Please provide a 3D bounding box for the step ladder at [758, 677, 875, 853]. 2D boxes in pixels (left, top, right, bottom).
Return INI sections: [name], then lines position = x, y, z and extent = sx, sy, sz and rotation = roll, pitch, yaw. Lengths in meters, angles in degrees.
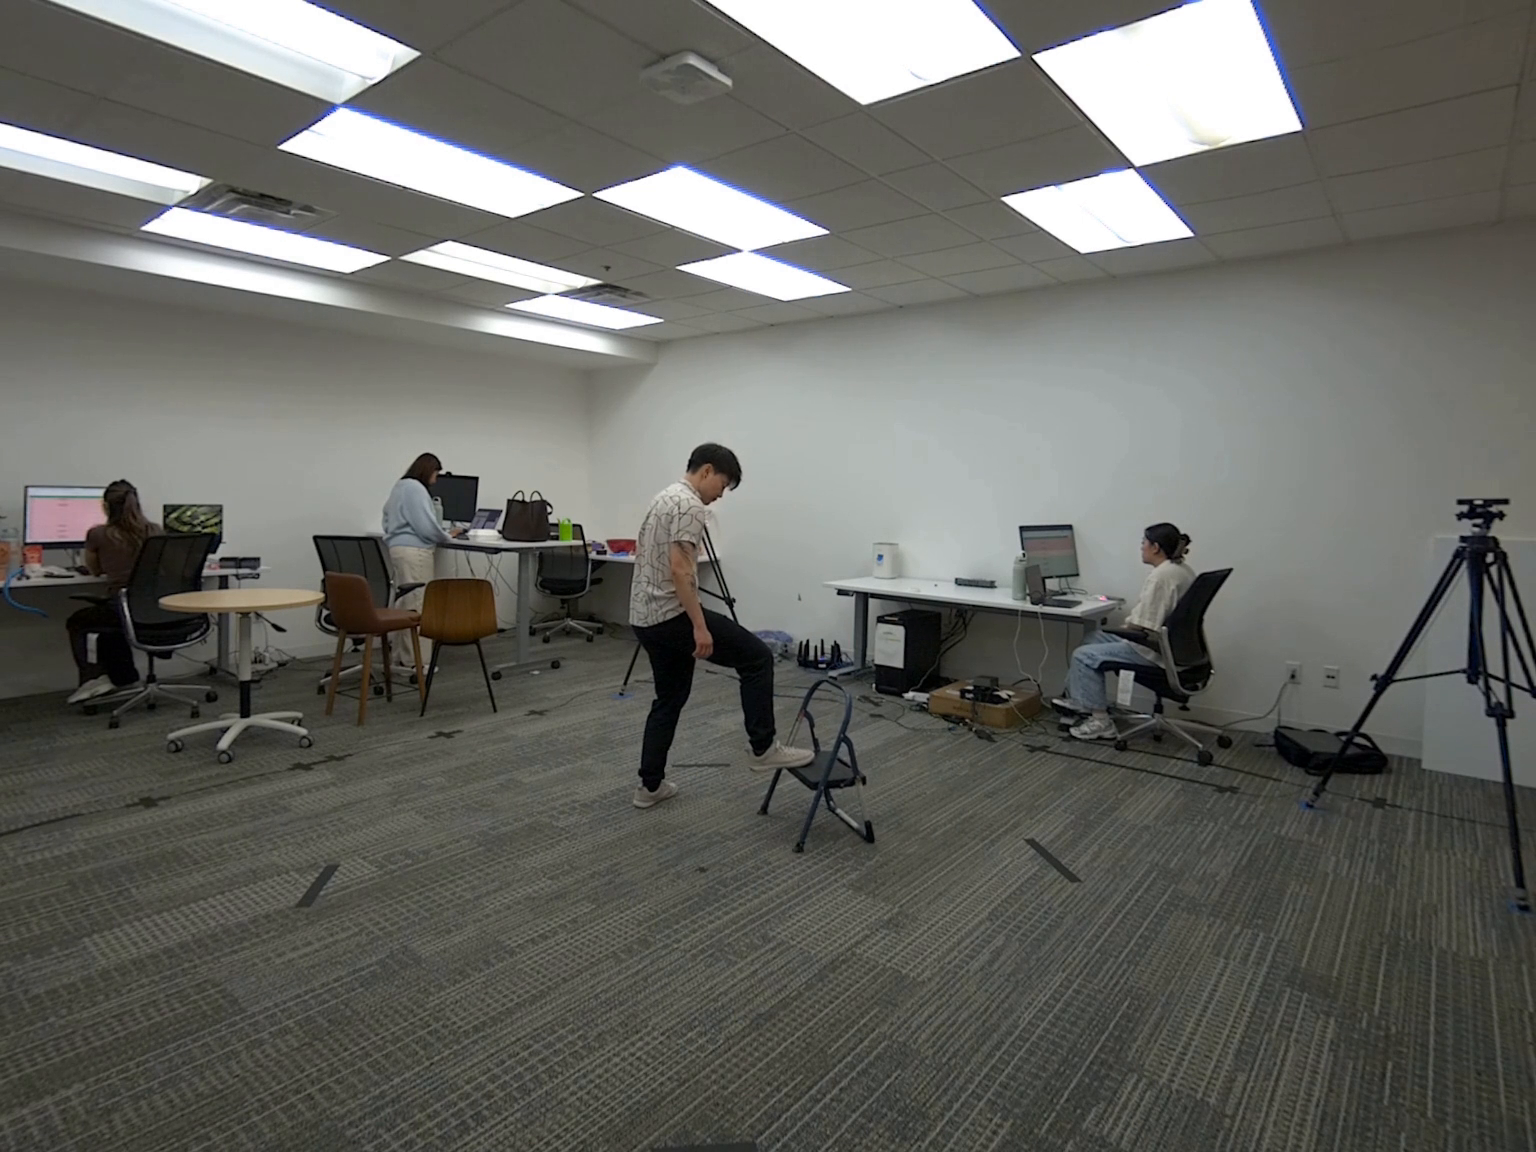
[step ladder]
position = 0.199, 0.740, 3.506
extent = 0.342, 0.604, 0.441
rotation = 1, 4, -21
